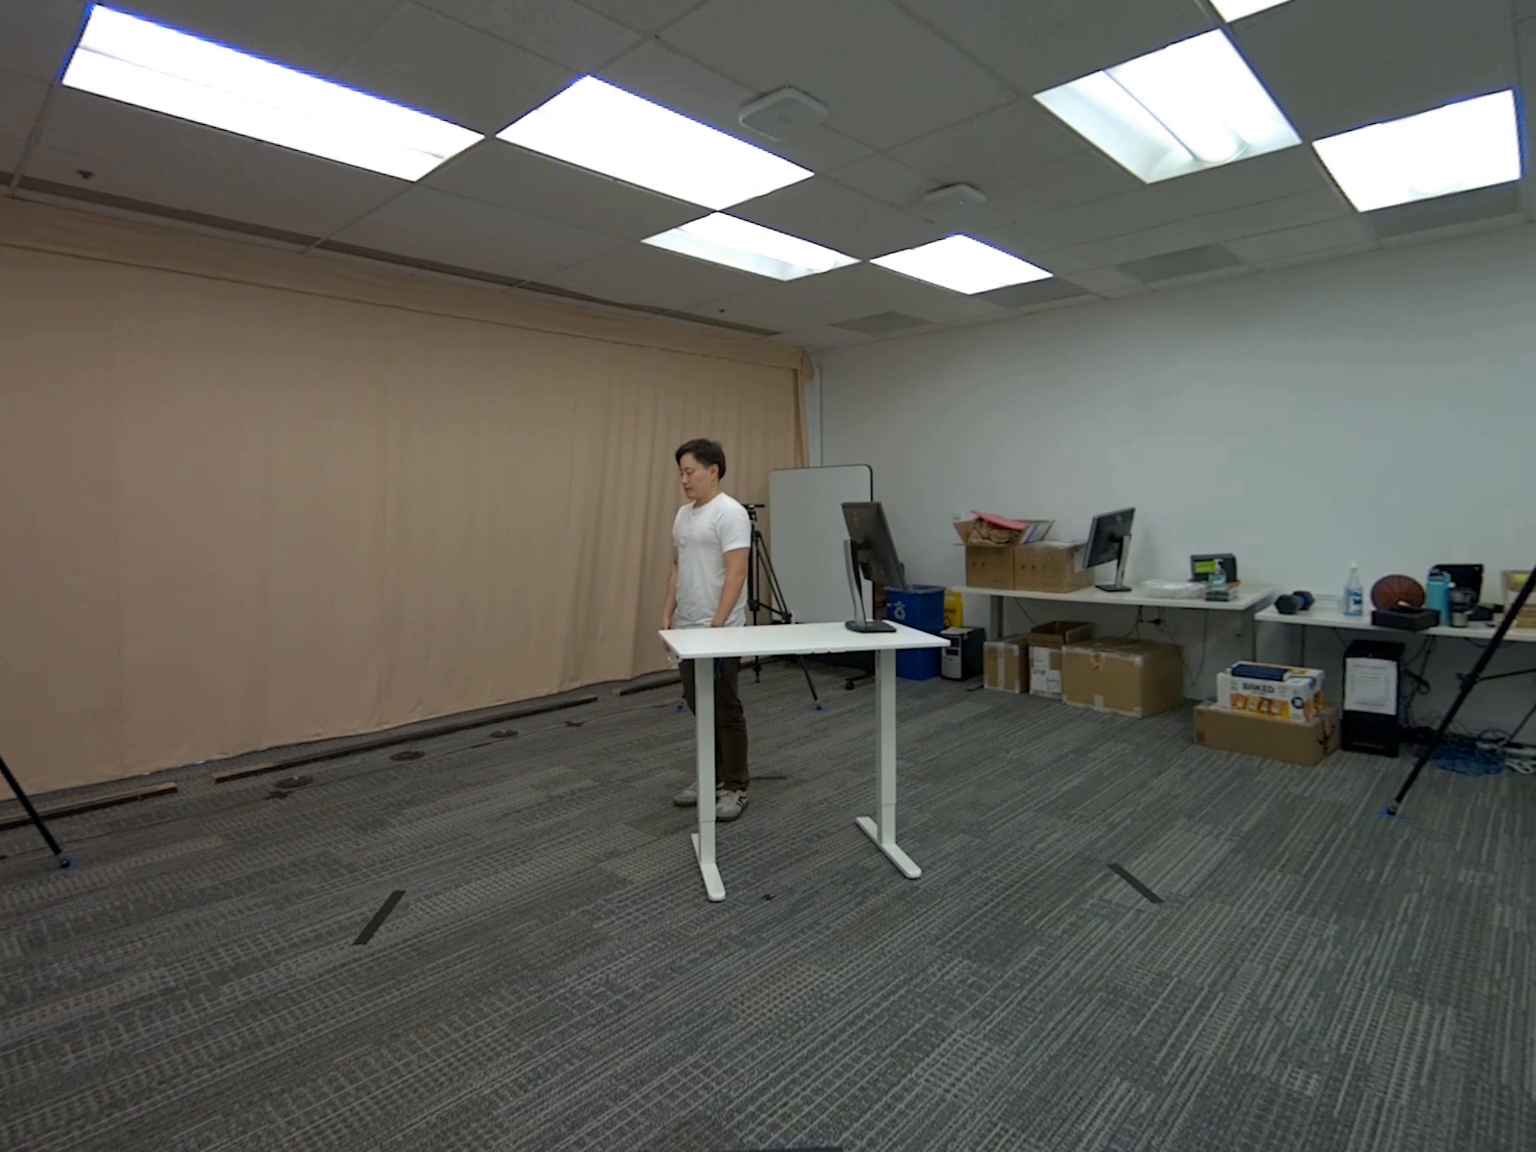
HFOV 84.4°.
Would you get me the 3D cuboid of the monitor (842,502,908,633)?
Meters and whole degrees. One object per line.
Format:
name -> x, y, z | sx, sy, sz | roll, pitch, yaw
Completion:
monitor -> 0.404, -0.040, 3.428 | 0.185, 0.521, 0.545 | -5, 4, -9
